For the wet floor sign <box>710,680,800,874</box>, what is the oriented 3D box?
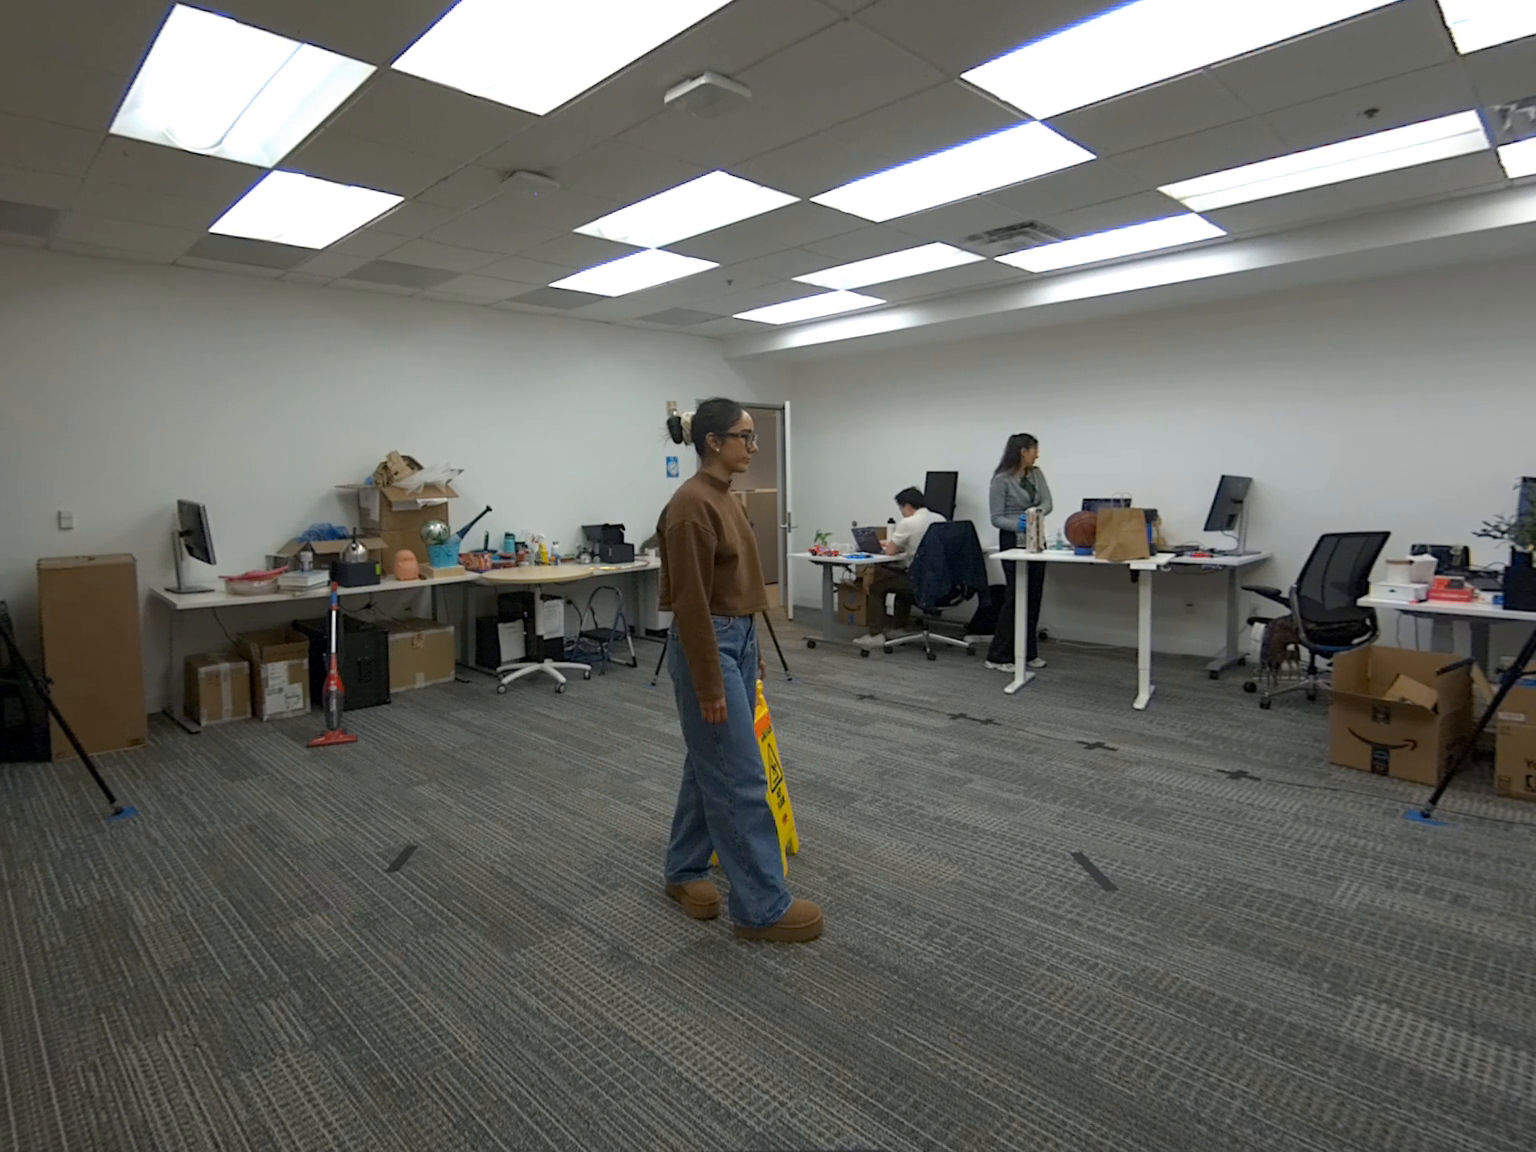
[{"bbox_3d":[-0.050,0.719,3.128,0.294,0.644,0.278,-1,3,16],"label":"wet floor sign"}]
